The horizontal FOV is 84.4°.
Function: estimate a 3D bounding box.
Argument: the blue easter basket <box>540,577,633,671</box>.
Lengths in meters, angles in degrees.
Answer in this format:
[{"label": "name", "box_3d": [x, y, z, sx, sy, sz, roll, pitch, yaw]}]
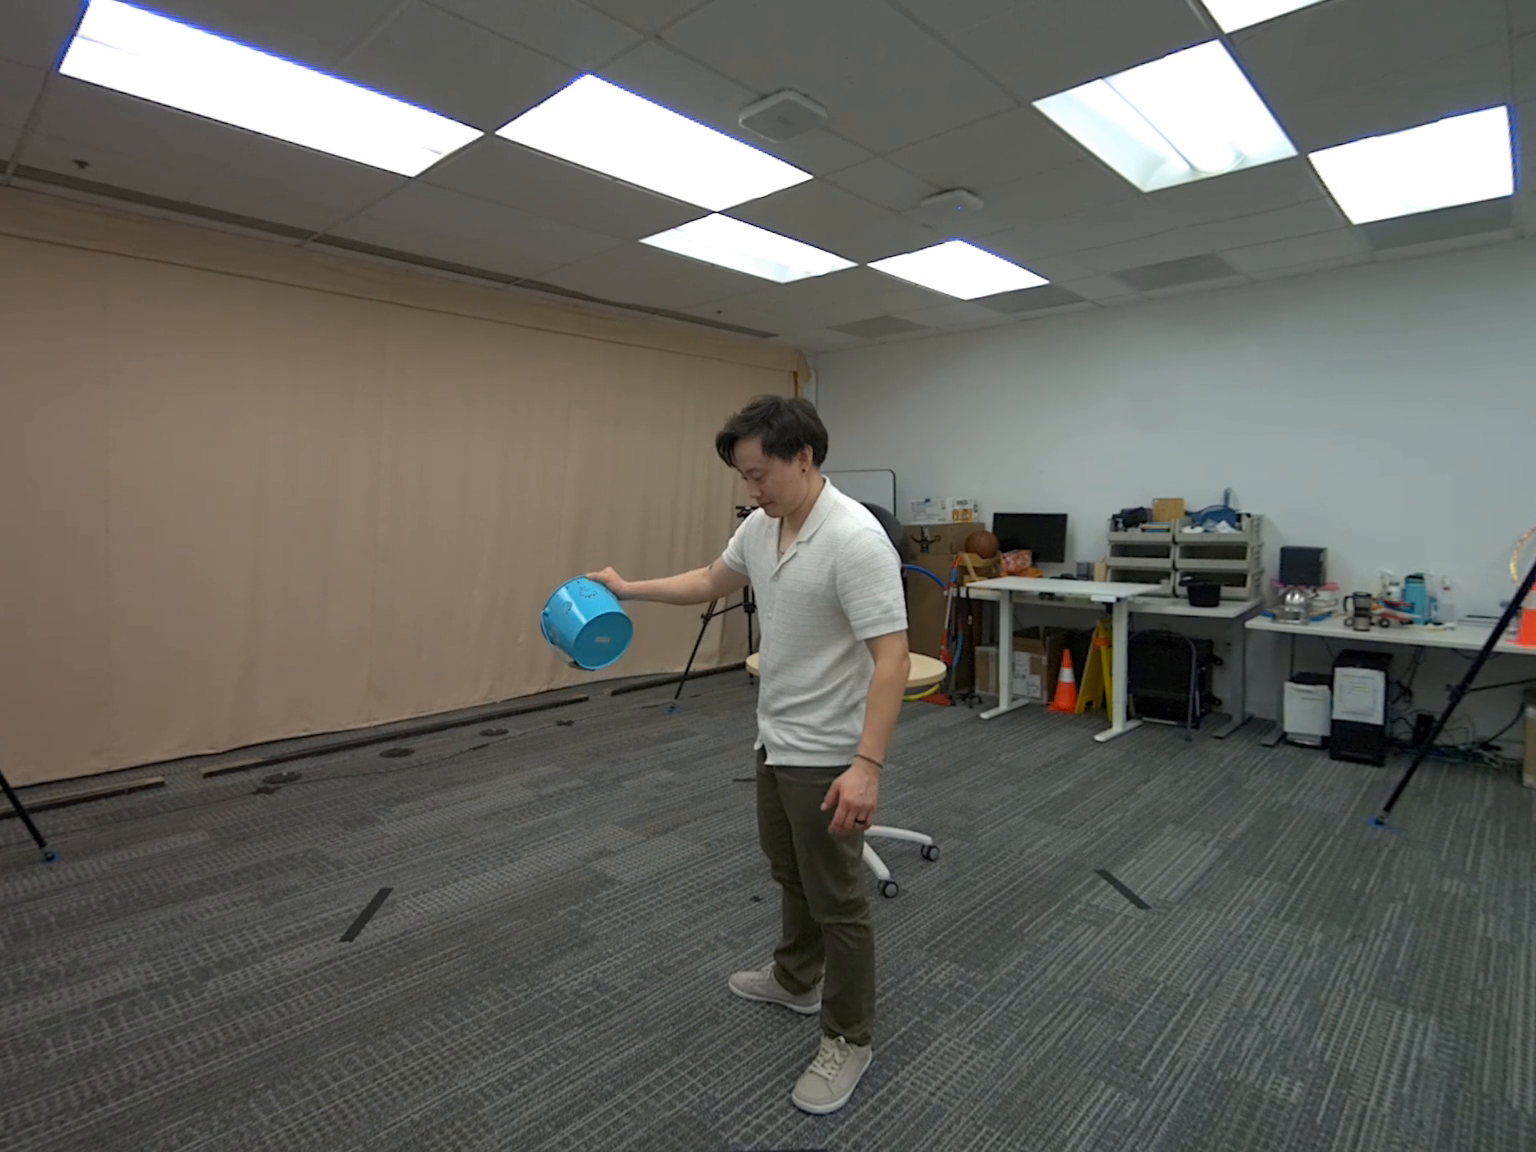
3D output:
[{"label": "blue easter basket", "box_3d": [-0.489, 0.143, 2.300, 0.236, 0.242, 0.162, -3, 29, -40]}]
